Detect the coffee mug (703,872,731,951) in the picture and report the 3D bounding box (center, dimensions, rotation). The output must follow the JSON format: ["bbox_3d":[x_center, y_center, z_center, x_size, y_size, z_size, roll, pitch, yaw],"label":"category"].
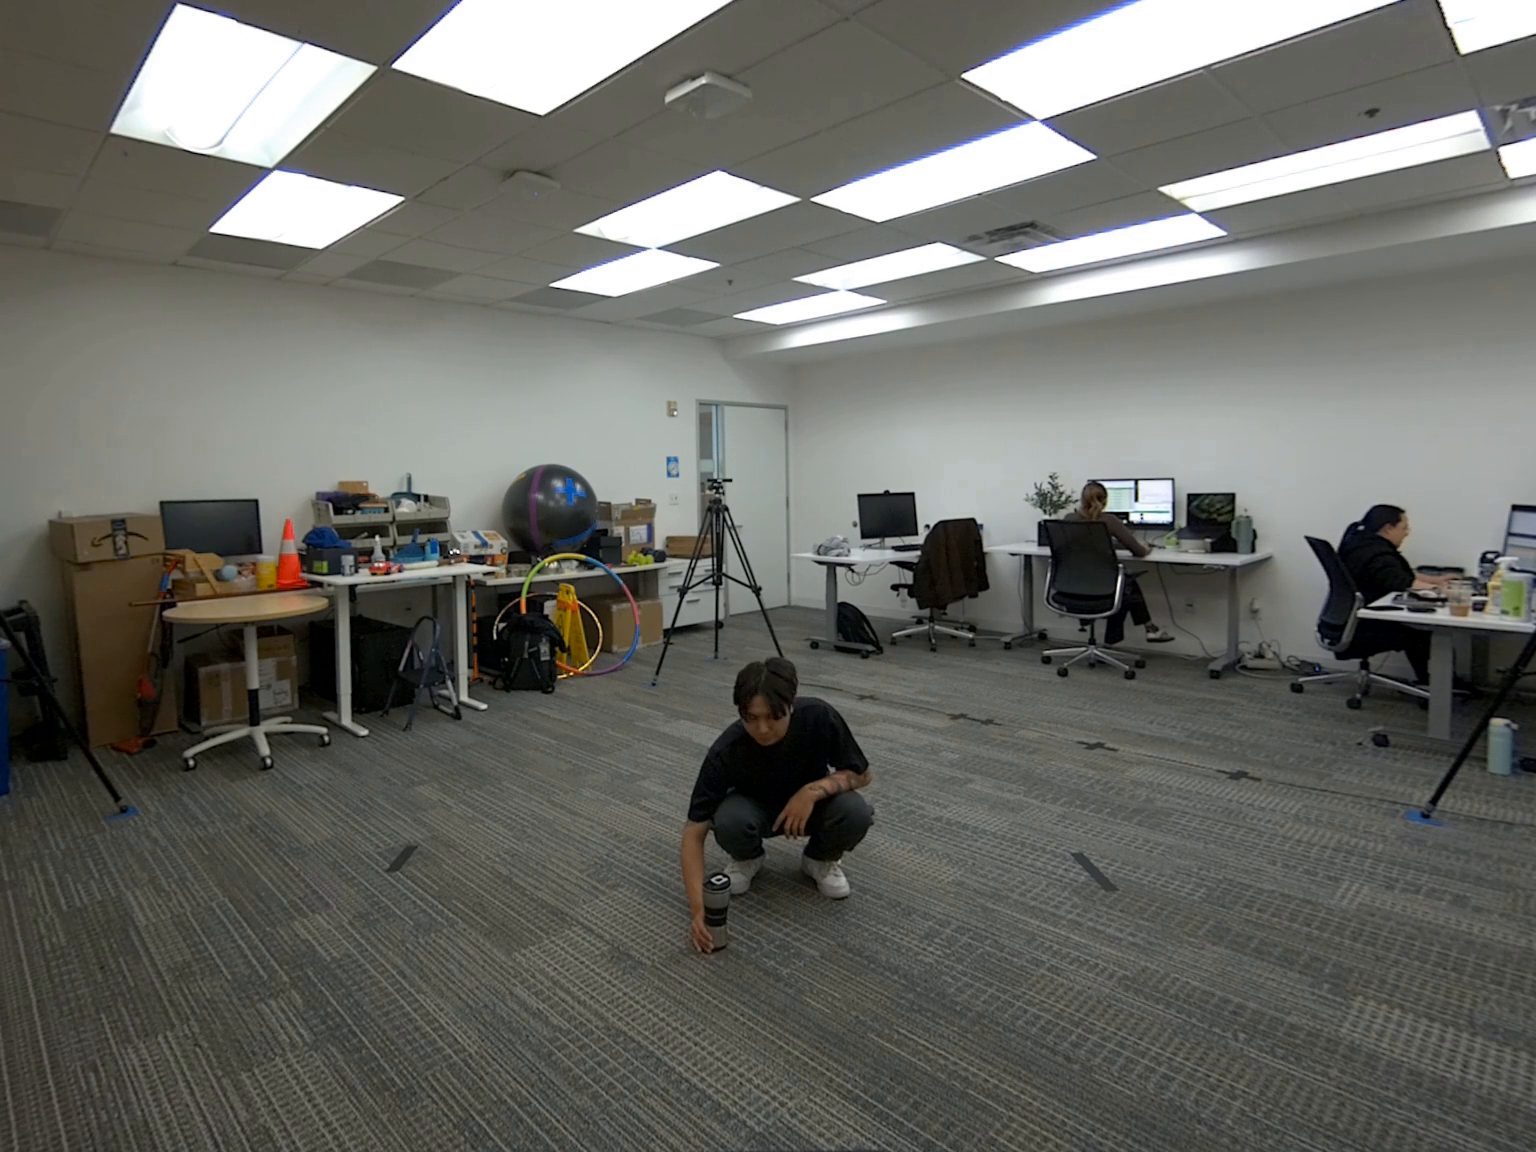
[{"bbox_3d":[-0.142,1.014,2.573,0.119,0.202,0.090,-11,8,-42],"label":"coffee mug"}]
